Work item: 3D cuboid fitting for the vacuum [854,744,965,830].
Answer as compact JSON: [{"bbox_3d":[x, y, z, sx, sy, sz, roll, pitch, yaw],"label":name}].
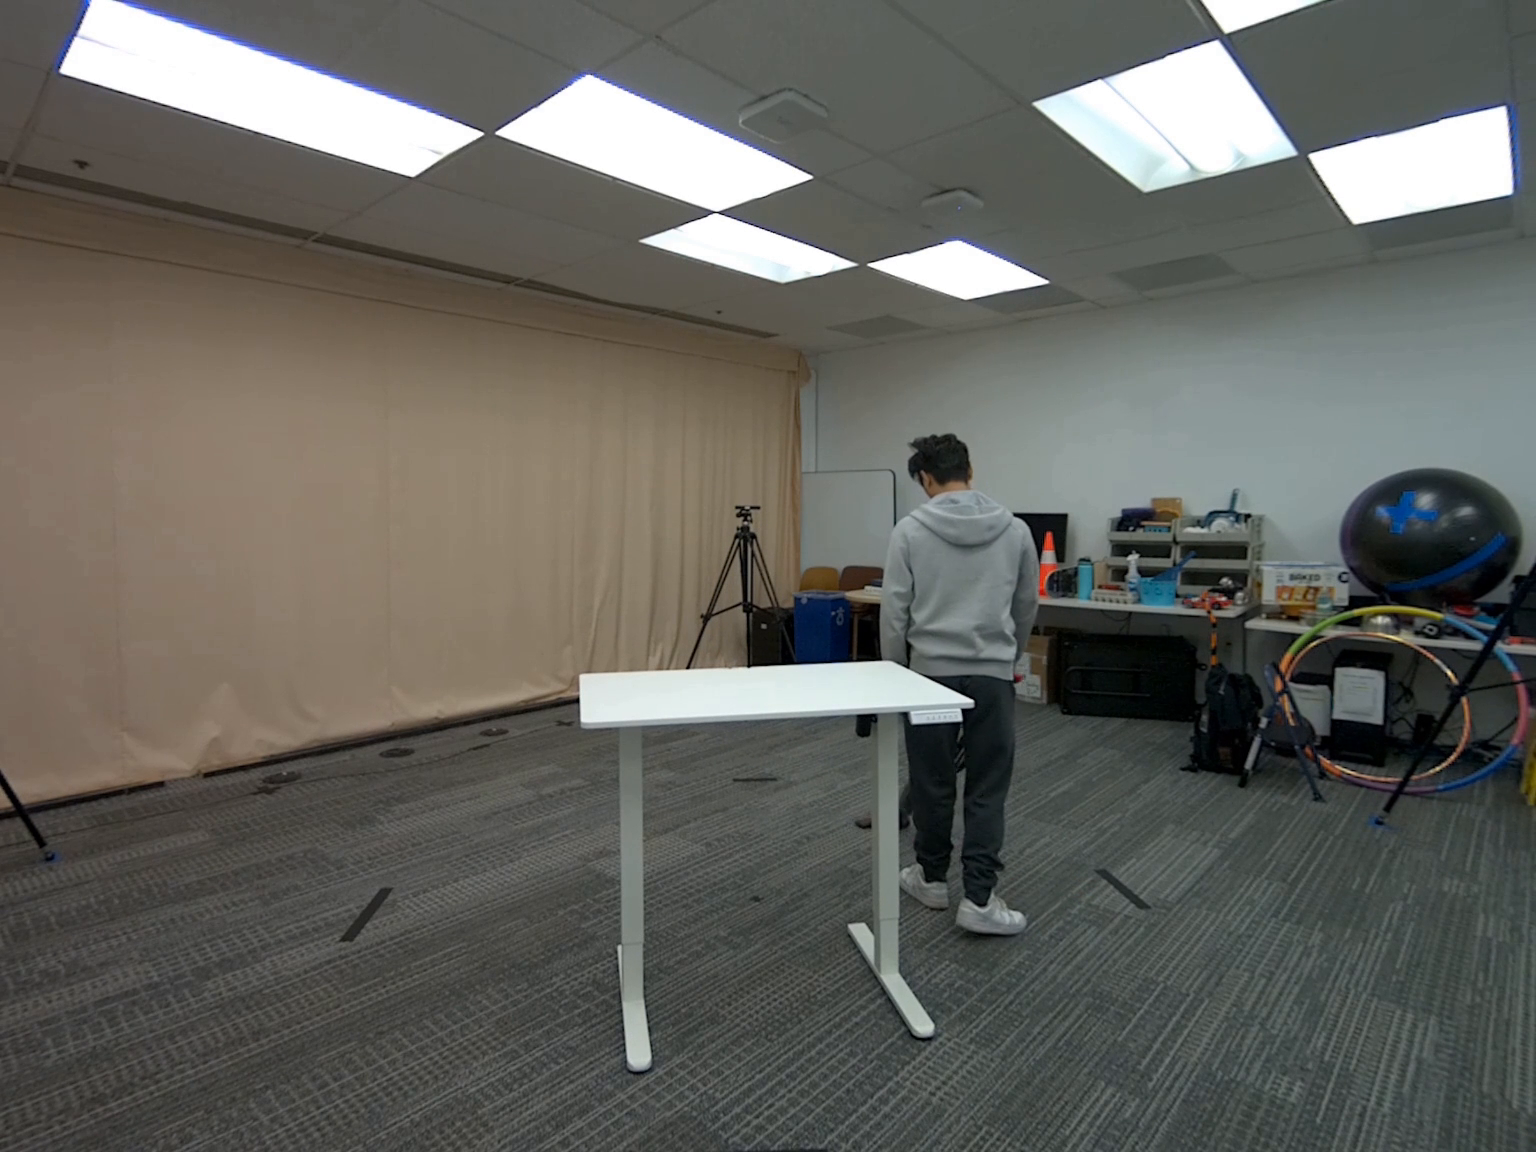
[{"bbox_3d":[0.705,0.720,3.332,0.246,1.046,0.148,-1,48,-29],"label":"vacuum"}]
